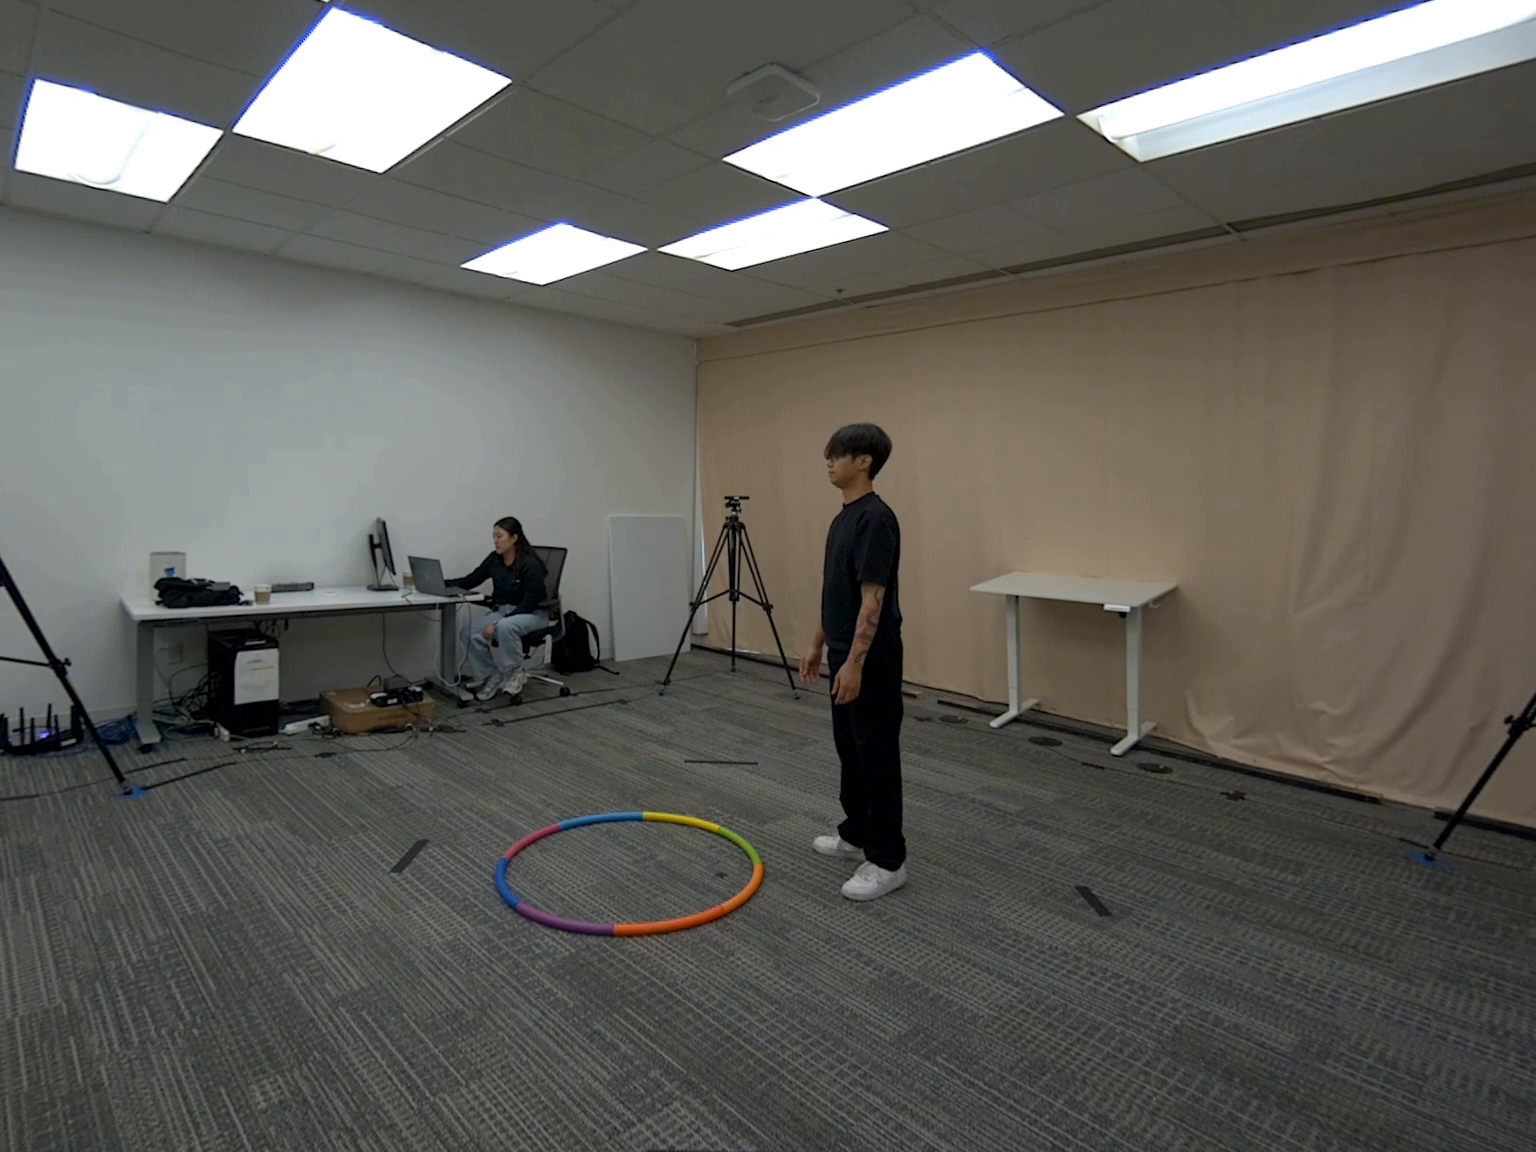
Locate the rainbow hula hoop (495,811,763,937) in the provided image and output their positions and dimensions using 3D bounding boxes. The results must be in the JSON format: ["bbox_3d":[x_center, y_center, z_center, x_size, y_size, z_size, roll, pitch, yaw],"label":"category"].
[{"bbox_3d":[-0.509,1.062,3.136,0.978,0.035,0.982,2,5,-1],"label":"rainbow hula hoop"}]
